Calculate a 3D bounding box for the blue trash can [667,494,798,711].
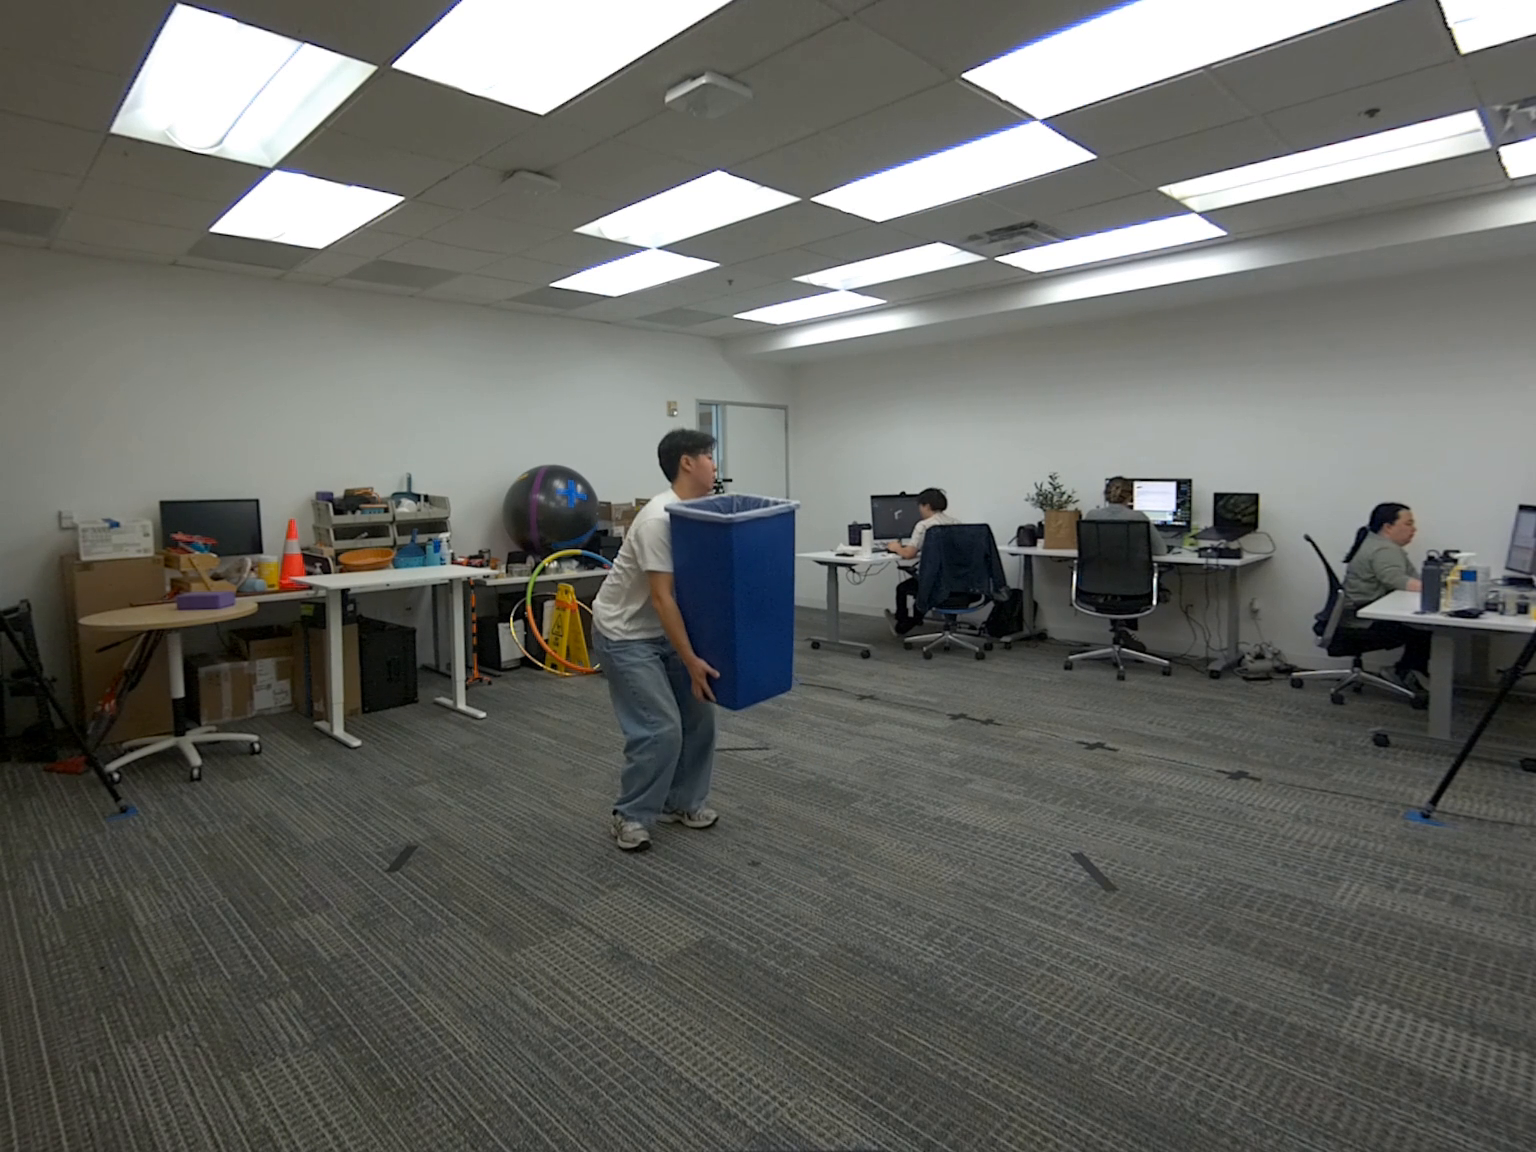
[{"bbox_3d":[-0.118,0.098,3.143,0.365,0.707,0.391,-11,14,-43],"label":"blue trash can"}]
